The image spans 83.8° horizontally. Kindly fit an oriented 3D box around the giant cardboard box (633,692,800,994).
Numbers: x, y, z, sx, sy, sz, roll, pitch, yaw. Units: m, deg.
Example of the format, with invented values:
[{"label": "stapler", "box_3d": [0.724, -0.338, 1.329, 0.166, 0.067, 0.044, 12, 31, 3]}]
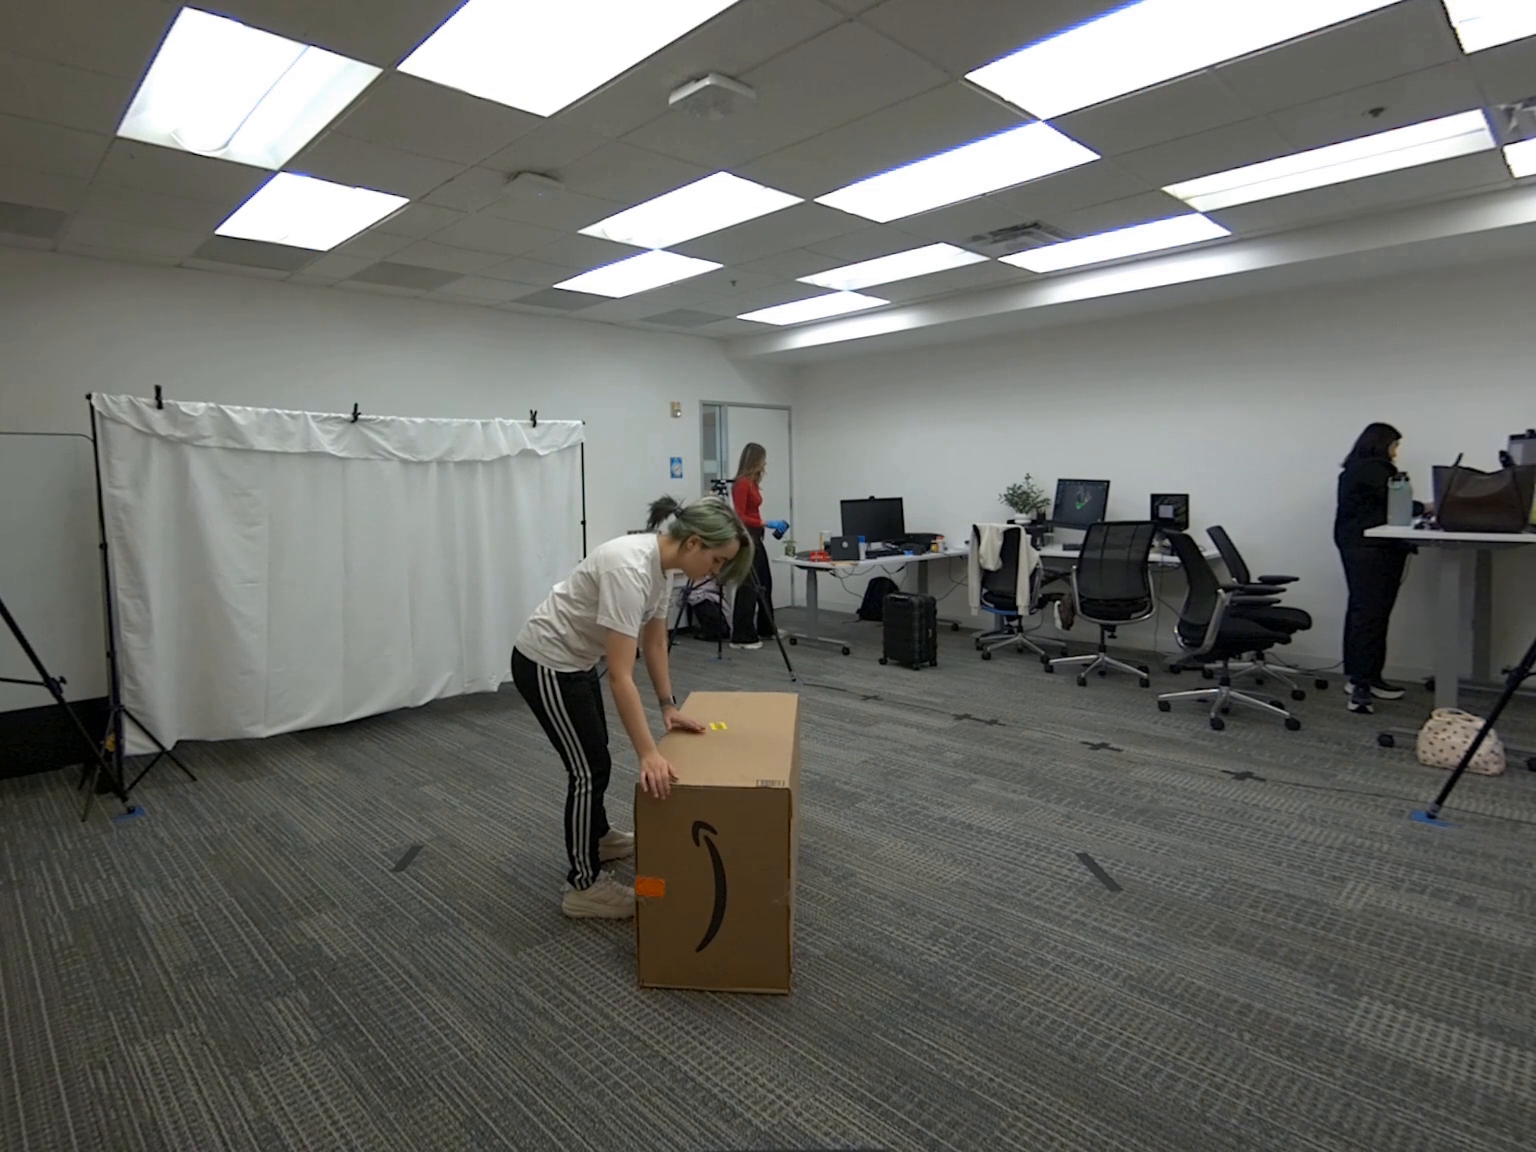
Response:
[{"label": "giant cardboard box", "box_3d": [-0.121, 0.793, 2.828, 0.428, 0.575, 1.025, 0, 5, 4]}]
